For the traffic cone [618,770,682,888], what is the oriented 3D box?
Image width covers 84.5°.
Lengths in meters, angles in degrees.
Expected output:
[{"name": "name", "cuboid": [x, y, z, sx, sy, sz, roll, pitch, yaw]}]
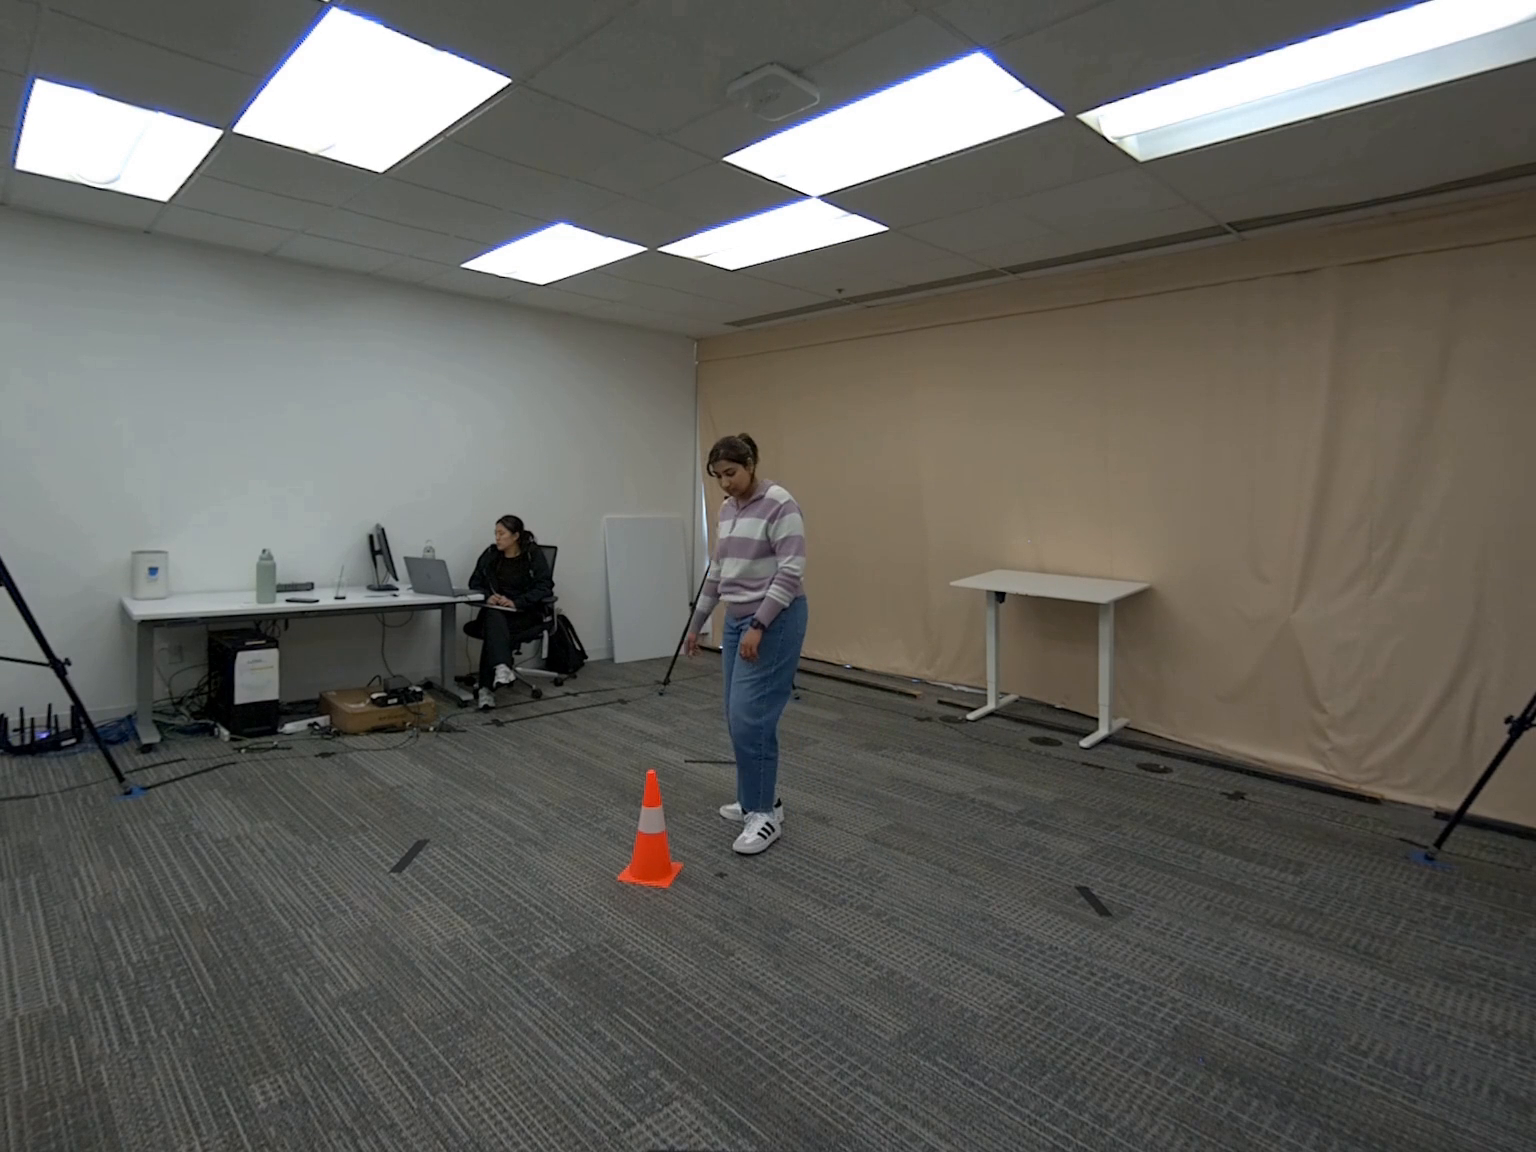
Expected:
[{"name": "traffic cone", "cuboid": [-0.433, 0.912, 3.106, 0.206, 0.383, 0.203, 3, 4, 13]}]
